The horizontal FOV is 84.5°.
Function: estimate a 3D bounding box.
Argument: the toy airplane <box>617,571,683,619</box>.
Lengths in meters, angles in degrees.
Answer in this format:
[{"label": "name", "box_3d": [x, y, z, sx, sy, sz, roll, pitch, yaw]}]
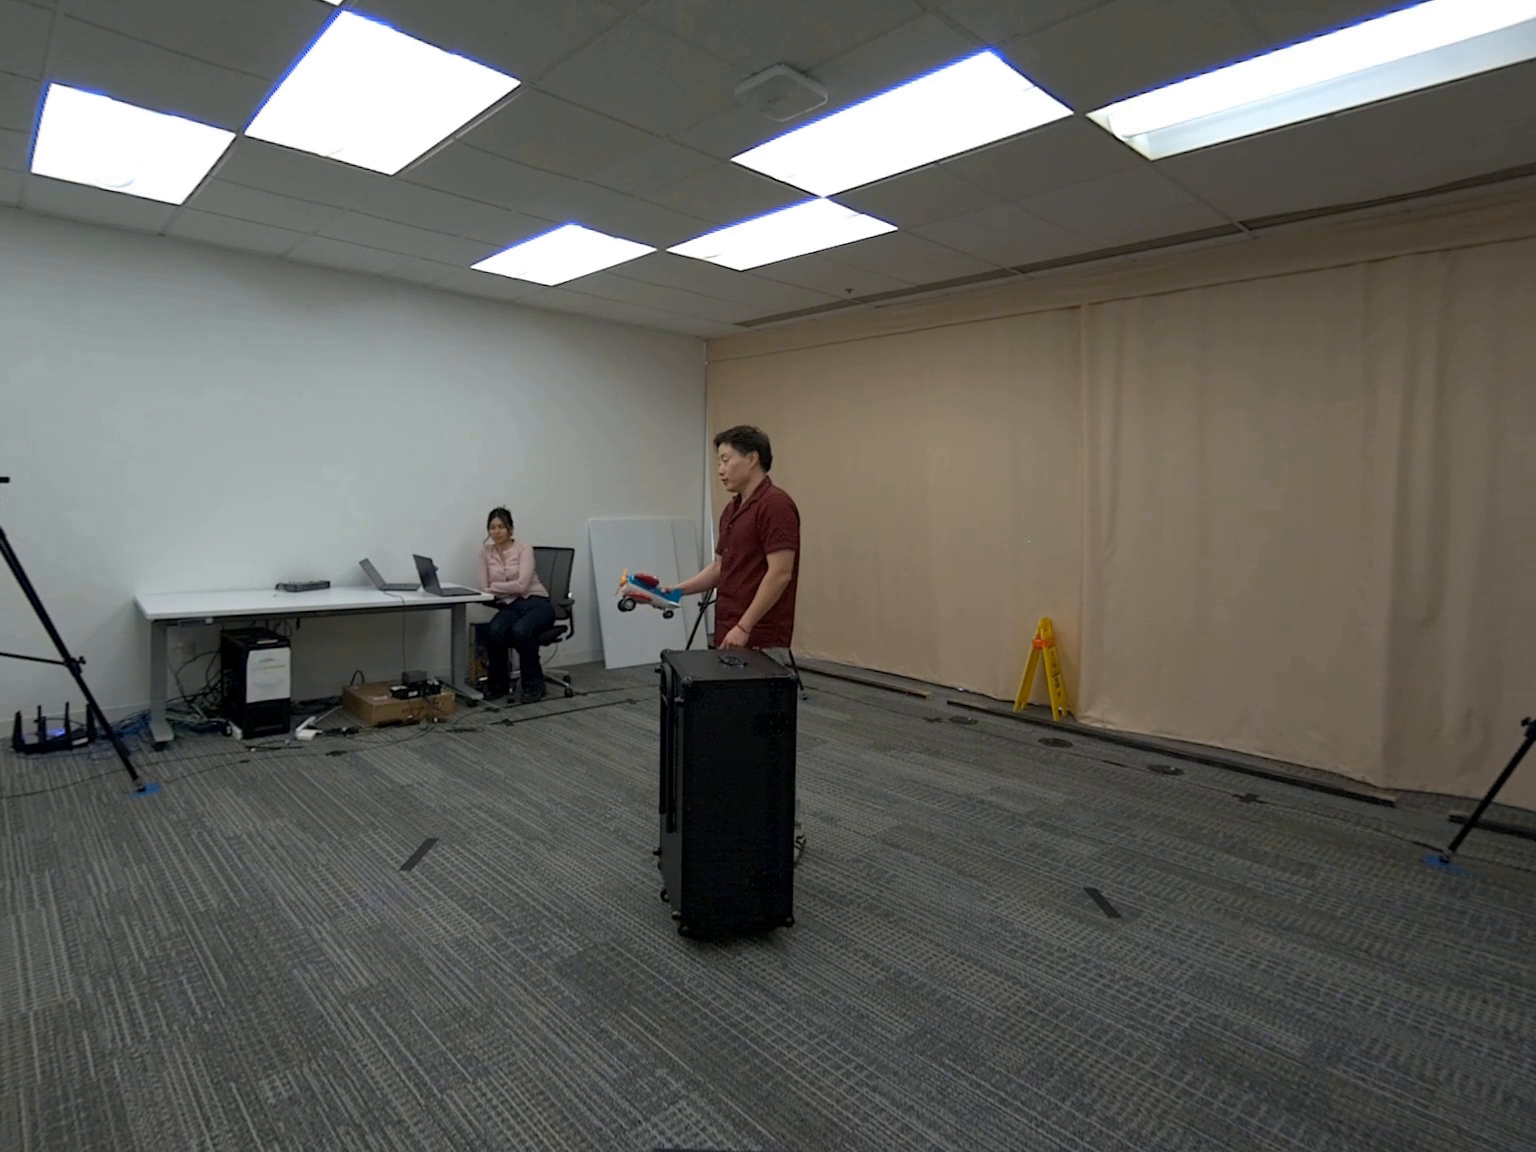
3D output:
[{"label": "toy airplane", "box_3d": [-0.489, 0.082, 3.406, 0.257, 0.157, 0.252, 1, -12, 45]}]
